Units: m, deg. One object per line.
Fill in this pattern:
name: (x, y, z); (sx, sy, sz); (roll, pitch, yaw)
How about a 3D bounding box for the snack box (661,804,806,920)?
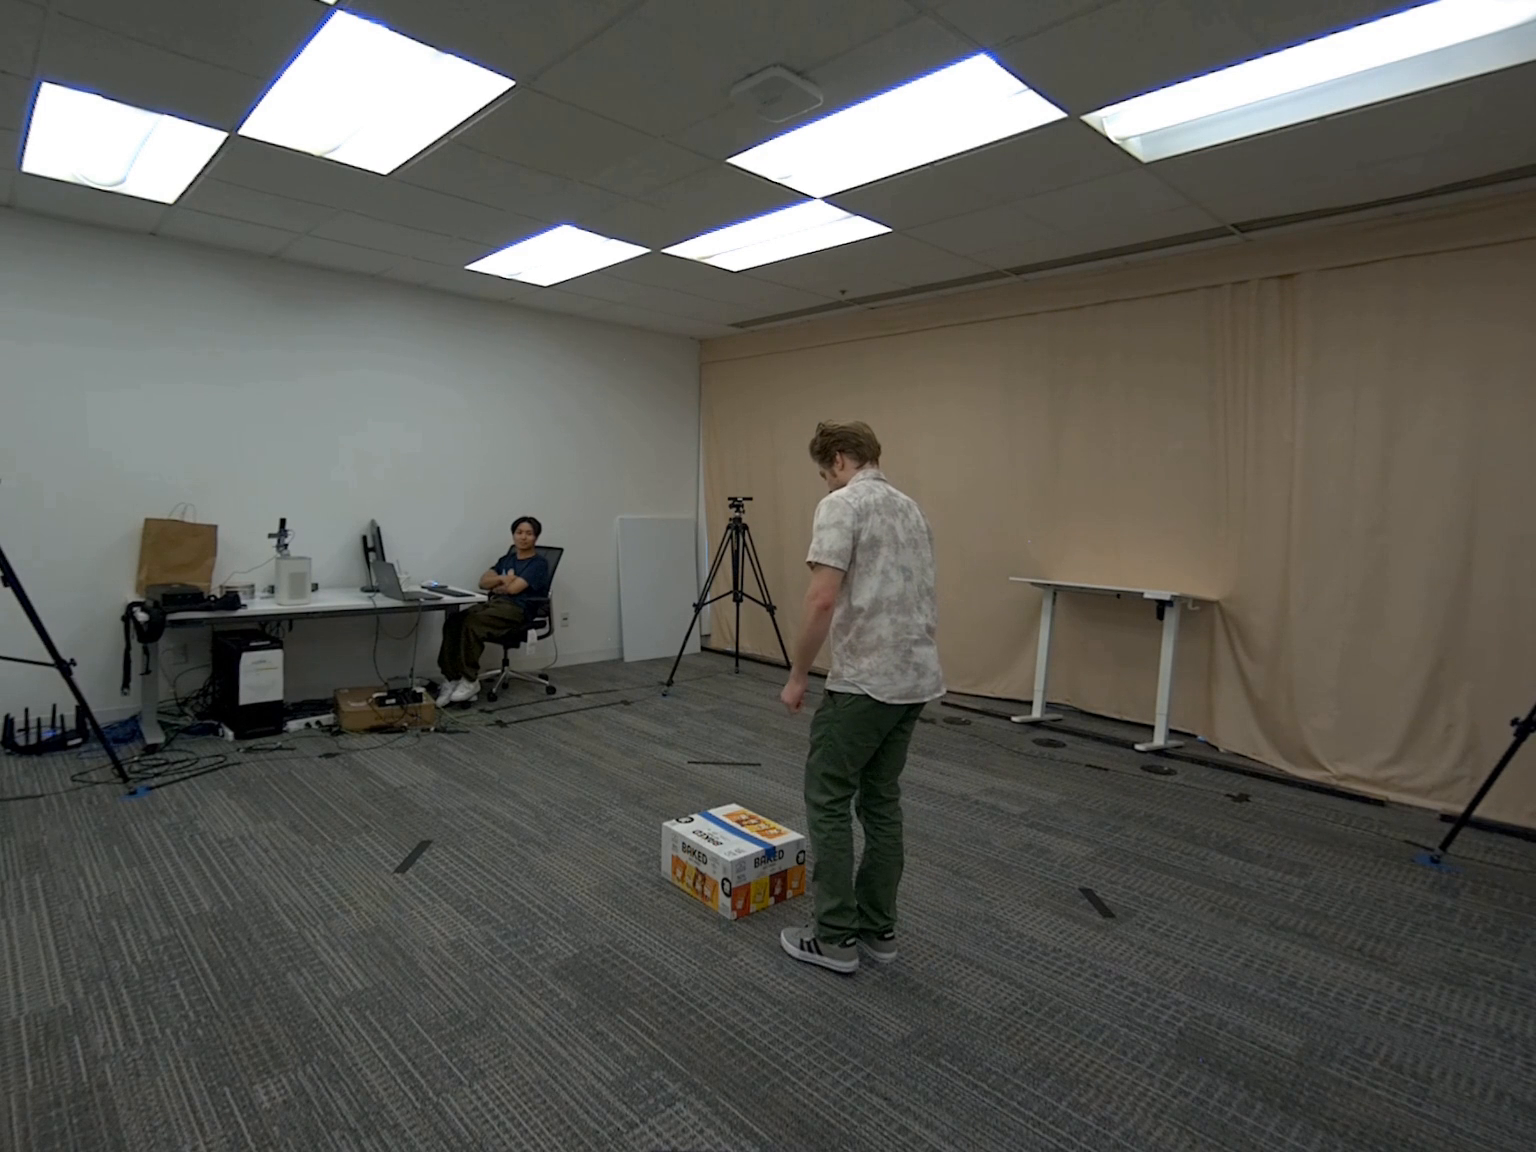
snack box: (-0.135, 1.015, 3.024); (0.332, 0.205, 0.415); (-2, 6, -40)
